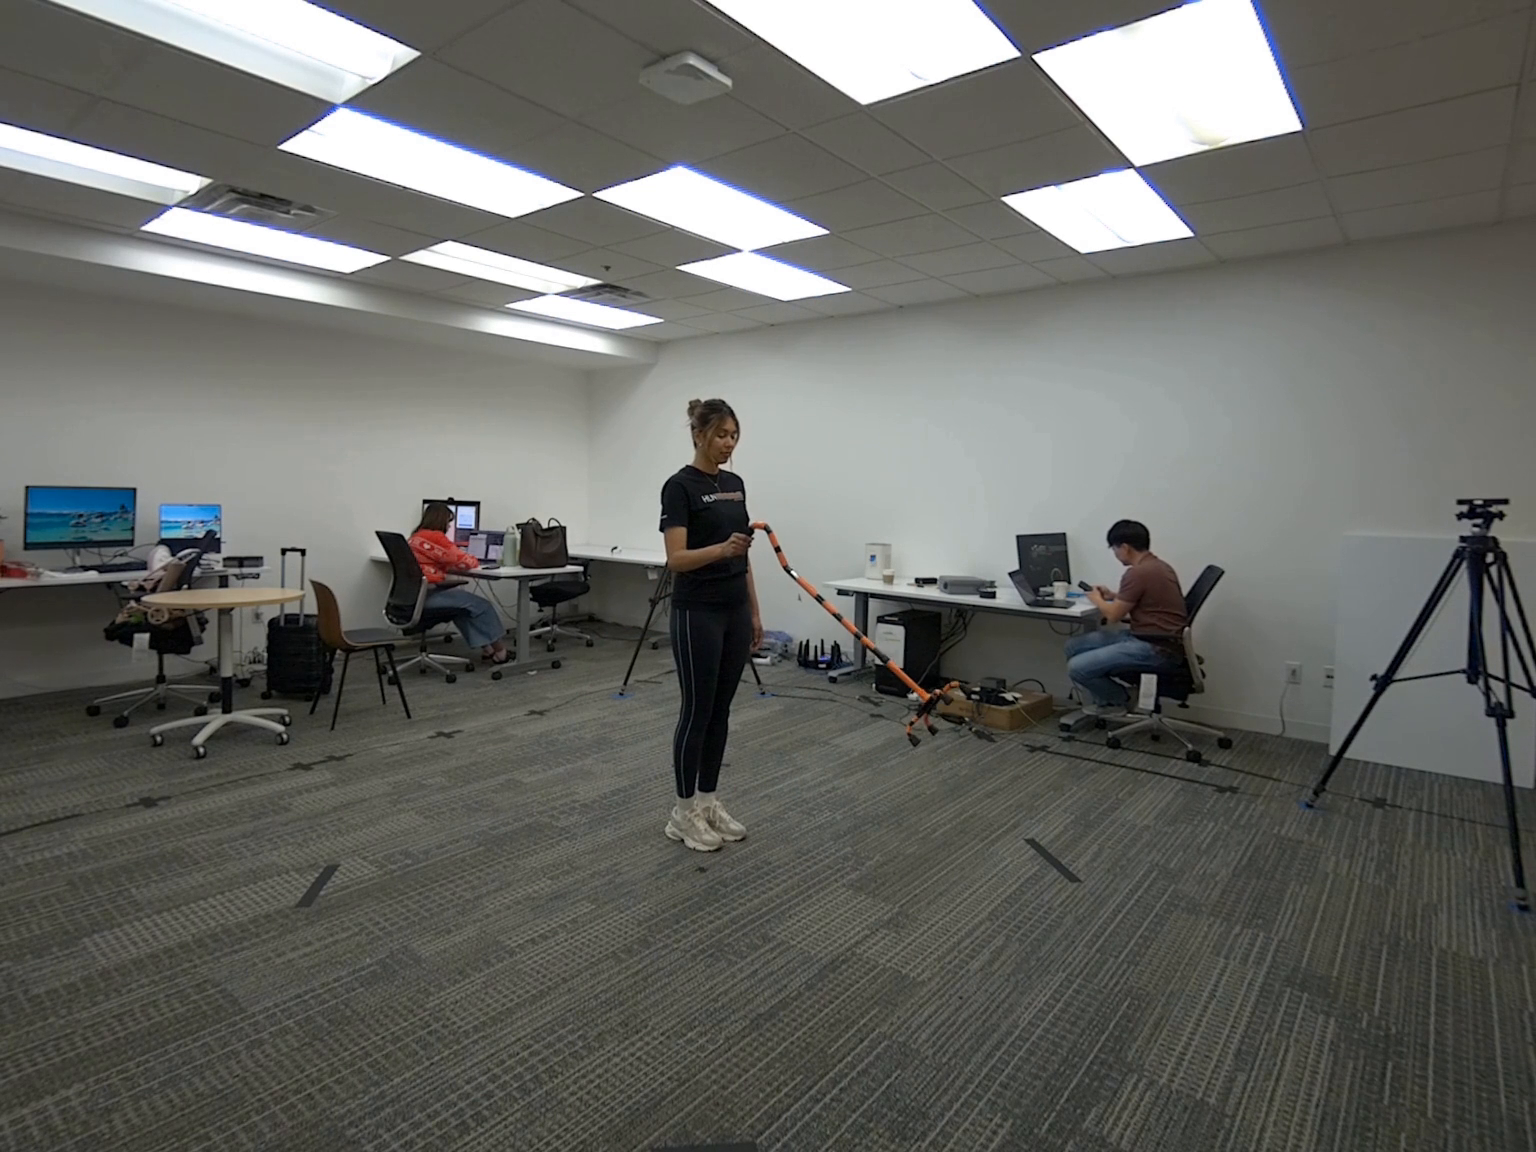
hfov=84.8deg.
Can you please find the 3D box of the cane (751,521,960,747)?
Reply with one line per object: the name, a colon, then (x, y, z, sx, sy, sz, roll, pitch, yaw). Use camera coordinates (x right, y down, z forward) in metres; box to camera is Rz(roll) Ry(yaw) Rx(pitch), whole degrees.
cane: (0.222, 0.152, 2.718, 0.147, 0.205, 0.940, -8, 46, -50)
